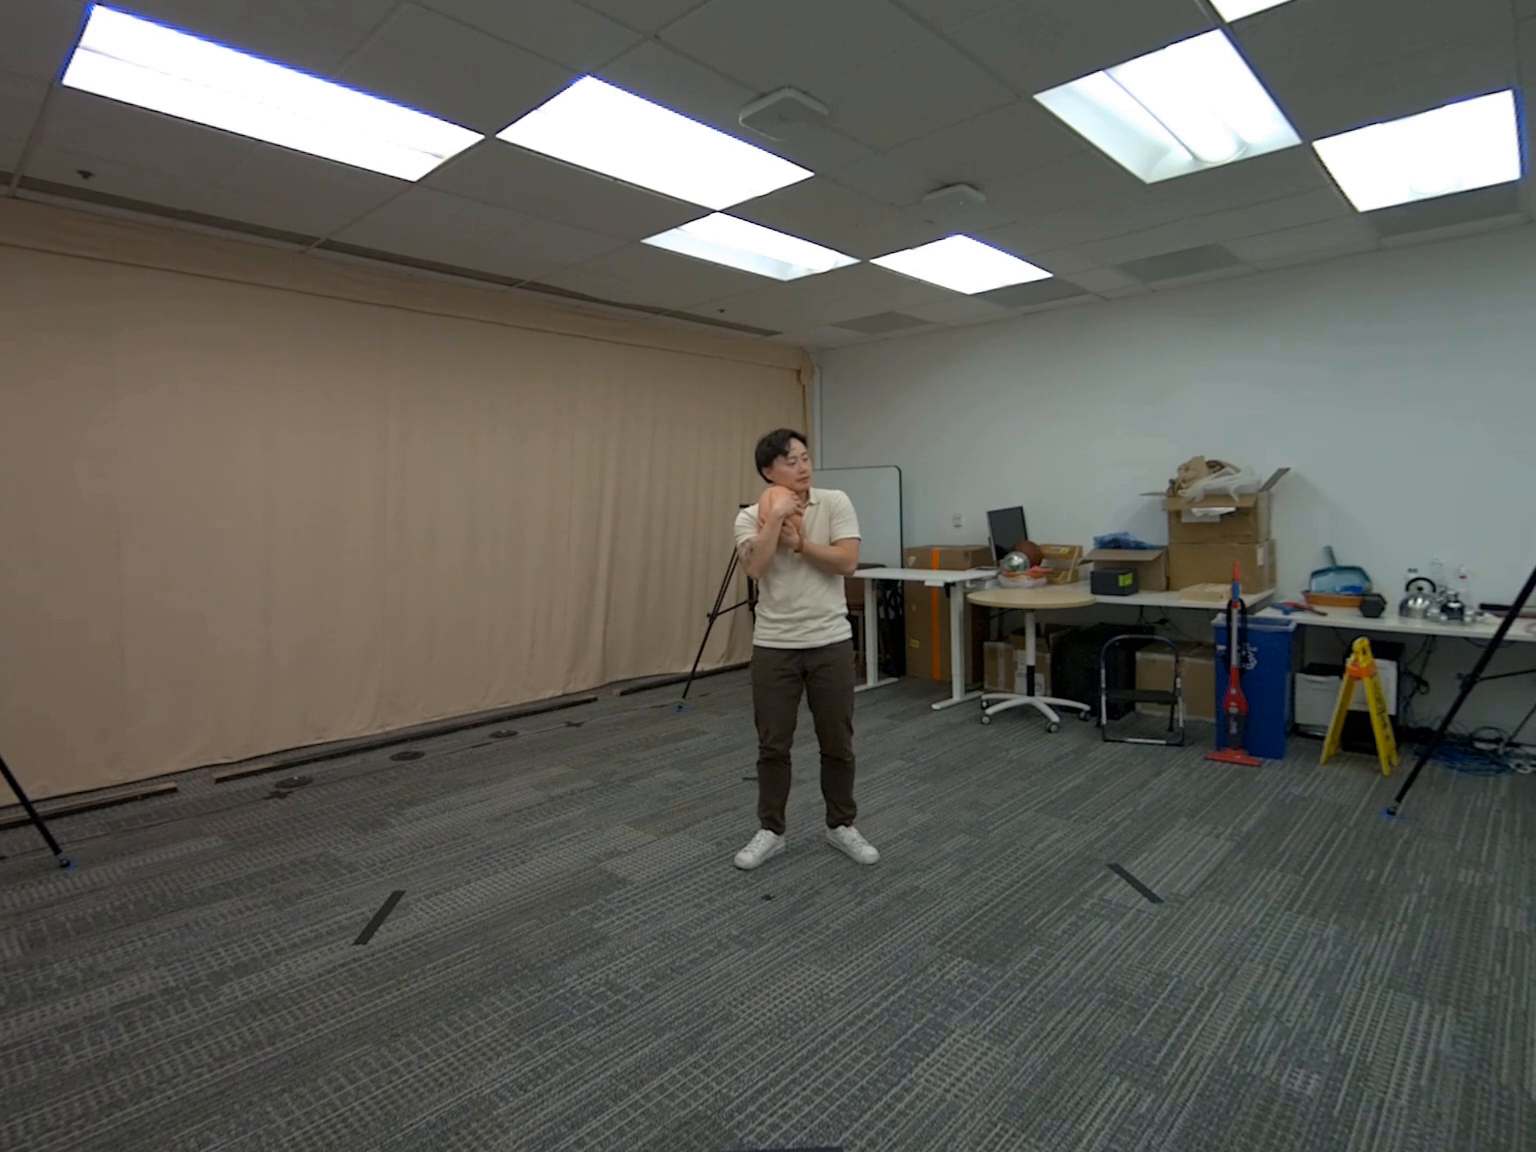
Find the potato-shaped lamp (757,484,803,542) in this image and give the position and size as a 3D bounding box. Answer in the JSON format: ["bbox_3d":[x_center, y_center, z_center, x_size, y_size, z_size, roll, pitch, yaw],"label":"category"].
[{"bbox_3d":[0.043,-0.243,3.190,0.159,0.204,0.173,28,-61,-39],"label":"potato-shaped lamp"}]
